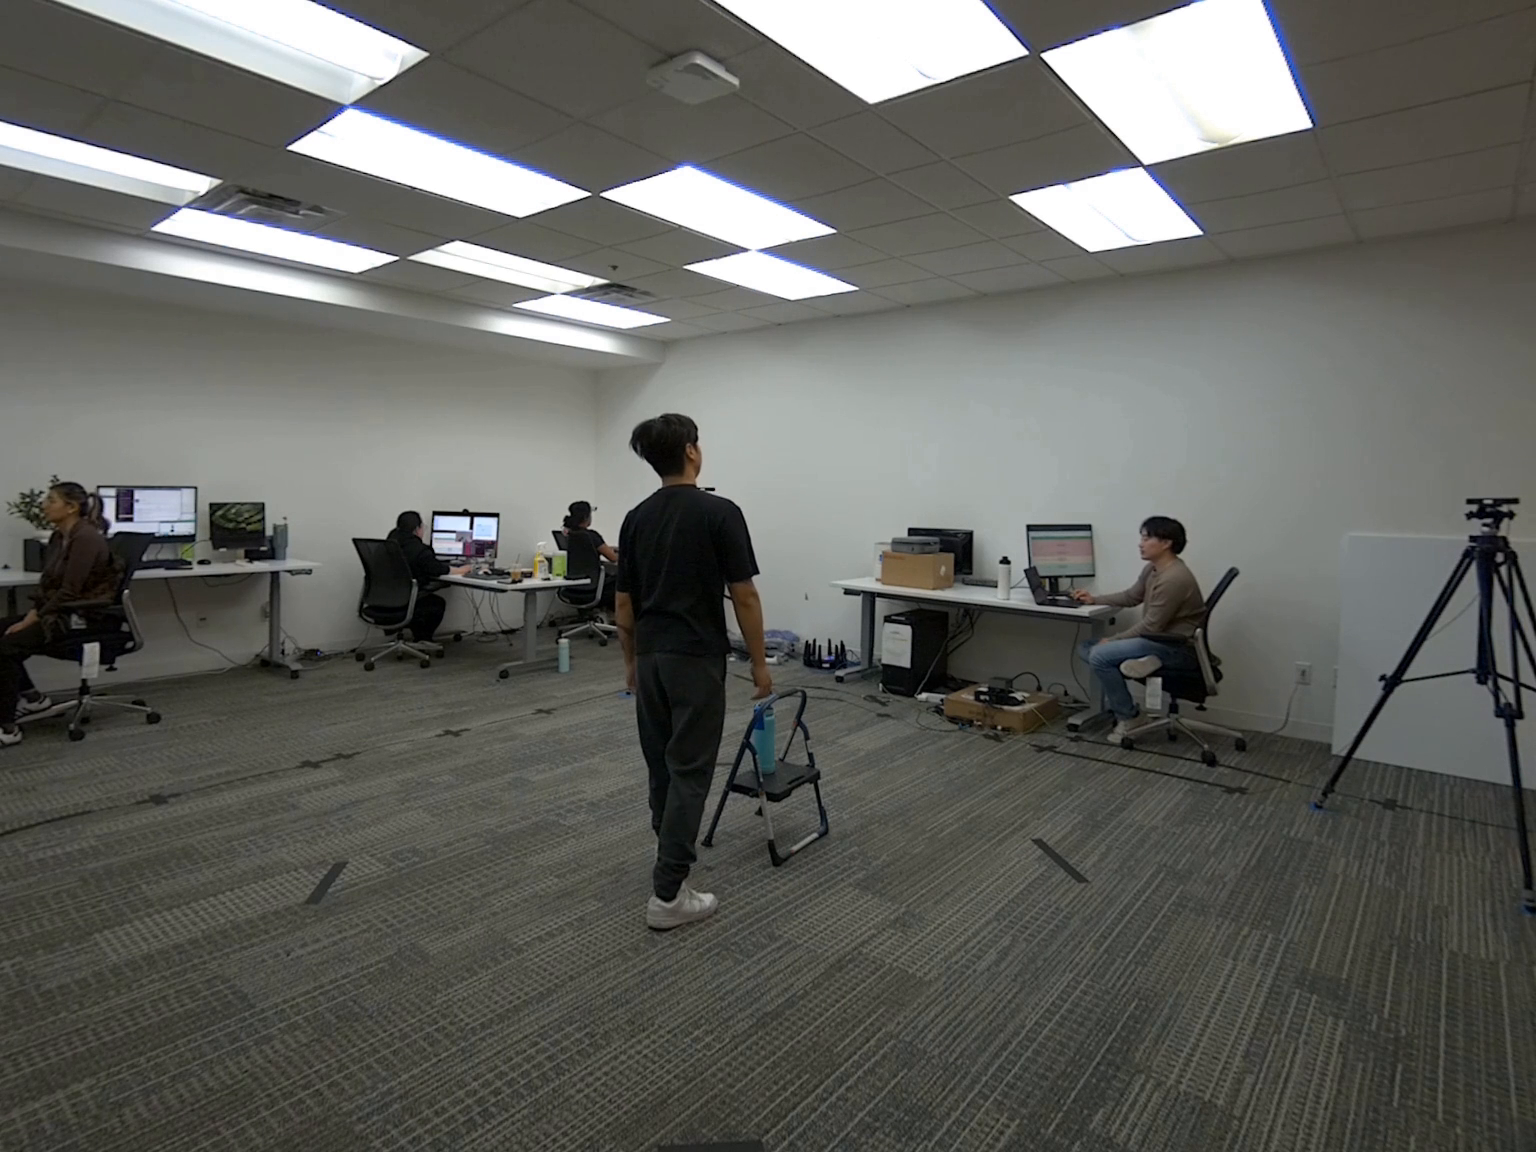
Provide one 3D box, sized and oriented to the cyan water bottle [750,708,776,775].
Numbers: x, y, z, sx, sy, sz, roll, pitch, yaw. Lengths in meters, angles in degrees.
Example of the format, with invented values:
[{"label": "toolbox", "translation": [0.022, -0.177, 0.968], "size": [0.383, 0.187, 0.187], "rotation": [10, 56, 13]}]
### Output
[{"label": "cyan water bottle", "translation": [-0.021, 0.642, 3.416], "size": [0.092, 0.283, 0.092], "rotation": [1, 1, -2]}]
